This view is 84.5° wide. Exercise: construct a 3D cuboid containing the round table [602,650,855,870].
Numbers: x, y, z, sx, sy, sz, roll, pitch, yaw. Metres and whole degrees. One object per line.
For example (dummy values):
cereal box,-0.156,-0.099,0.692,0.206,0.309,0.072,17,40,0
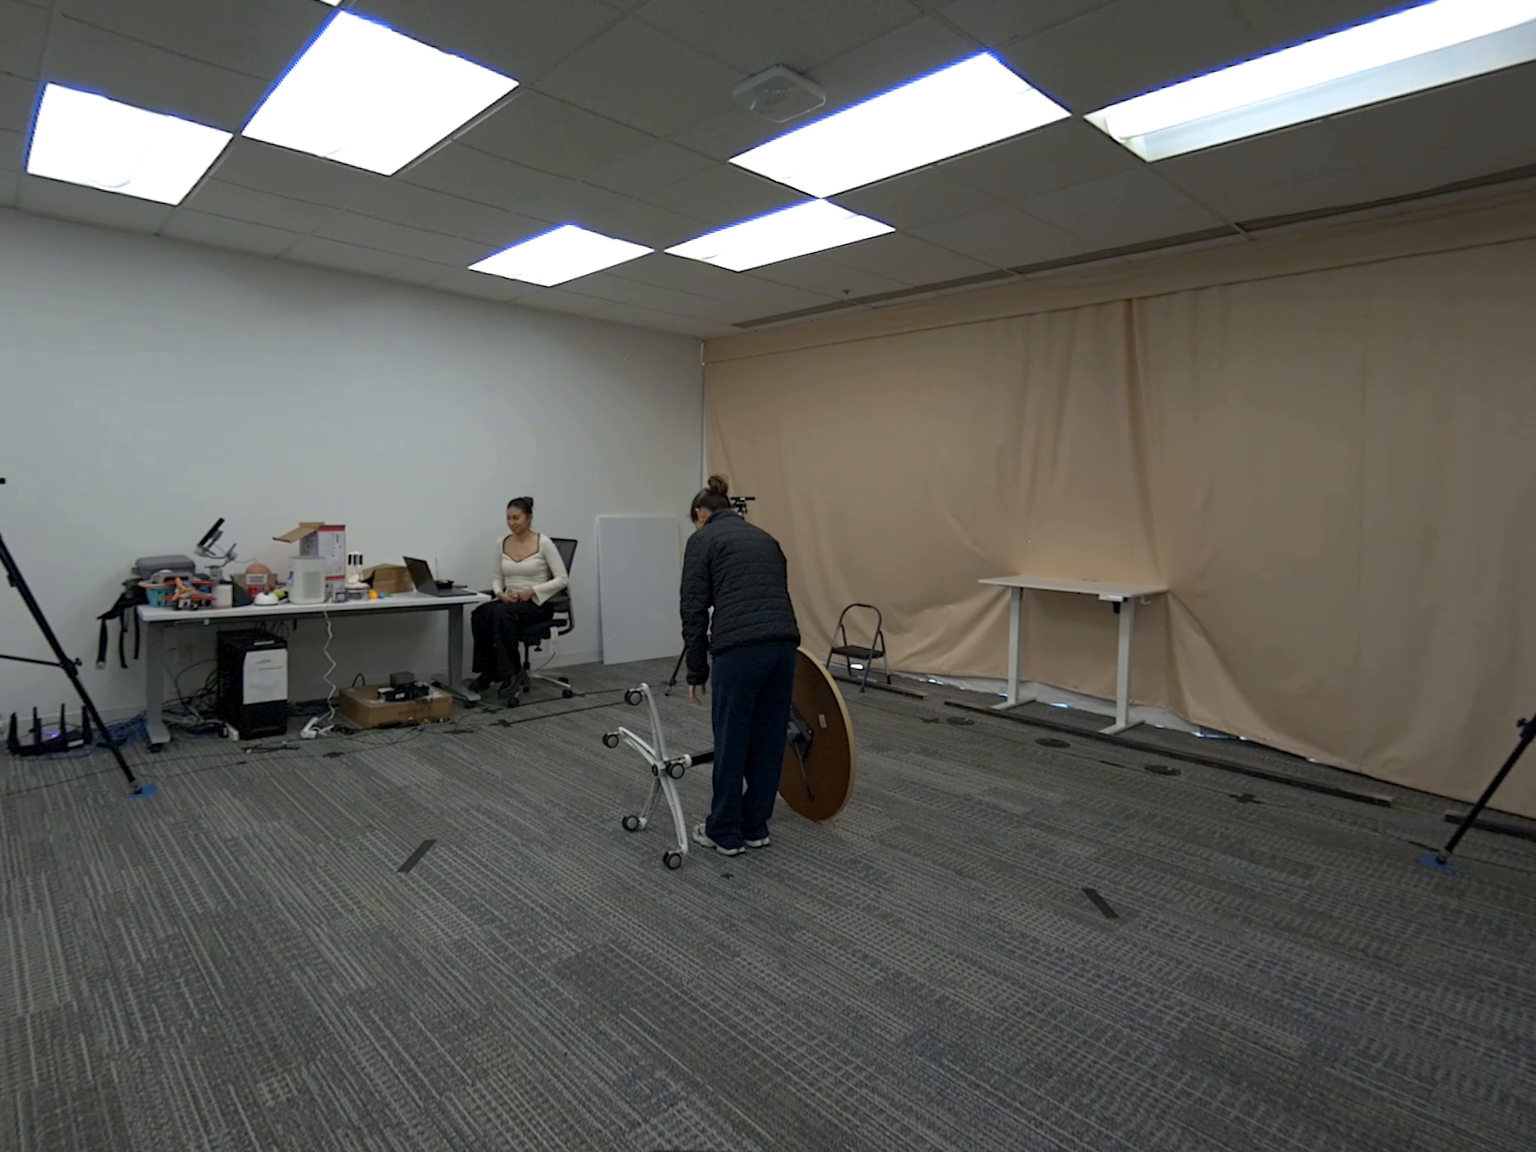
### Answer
round table,-0.183,0.738,3.485,0.772,0.780,0.804,-9,9,-32
